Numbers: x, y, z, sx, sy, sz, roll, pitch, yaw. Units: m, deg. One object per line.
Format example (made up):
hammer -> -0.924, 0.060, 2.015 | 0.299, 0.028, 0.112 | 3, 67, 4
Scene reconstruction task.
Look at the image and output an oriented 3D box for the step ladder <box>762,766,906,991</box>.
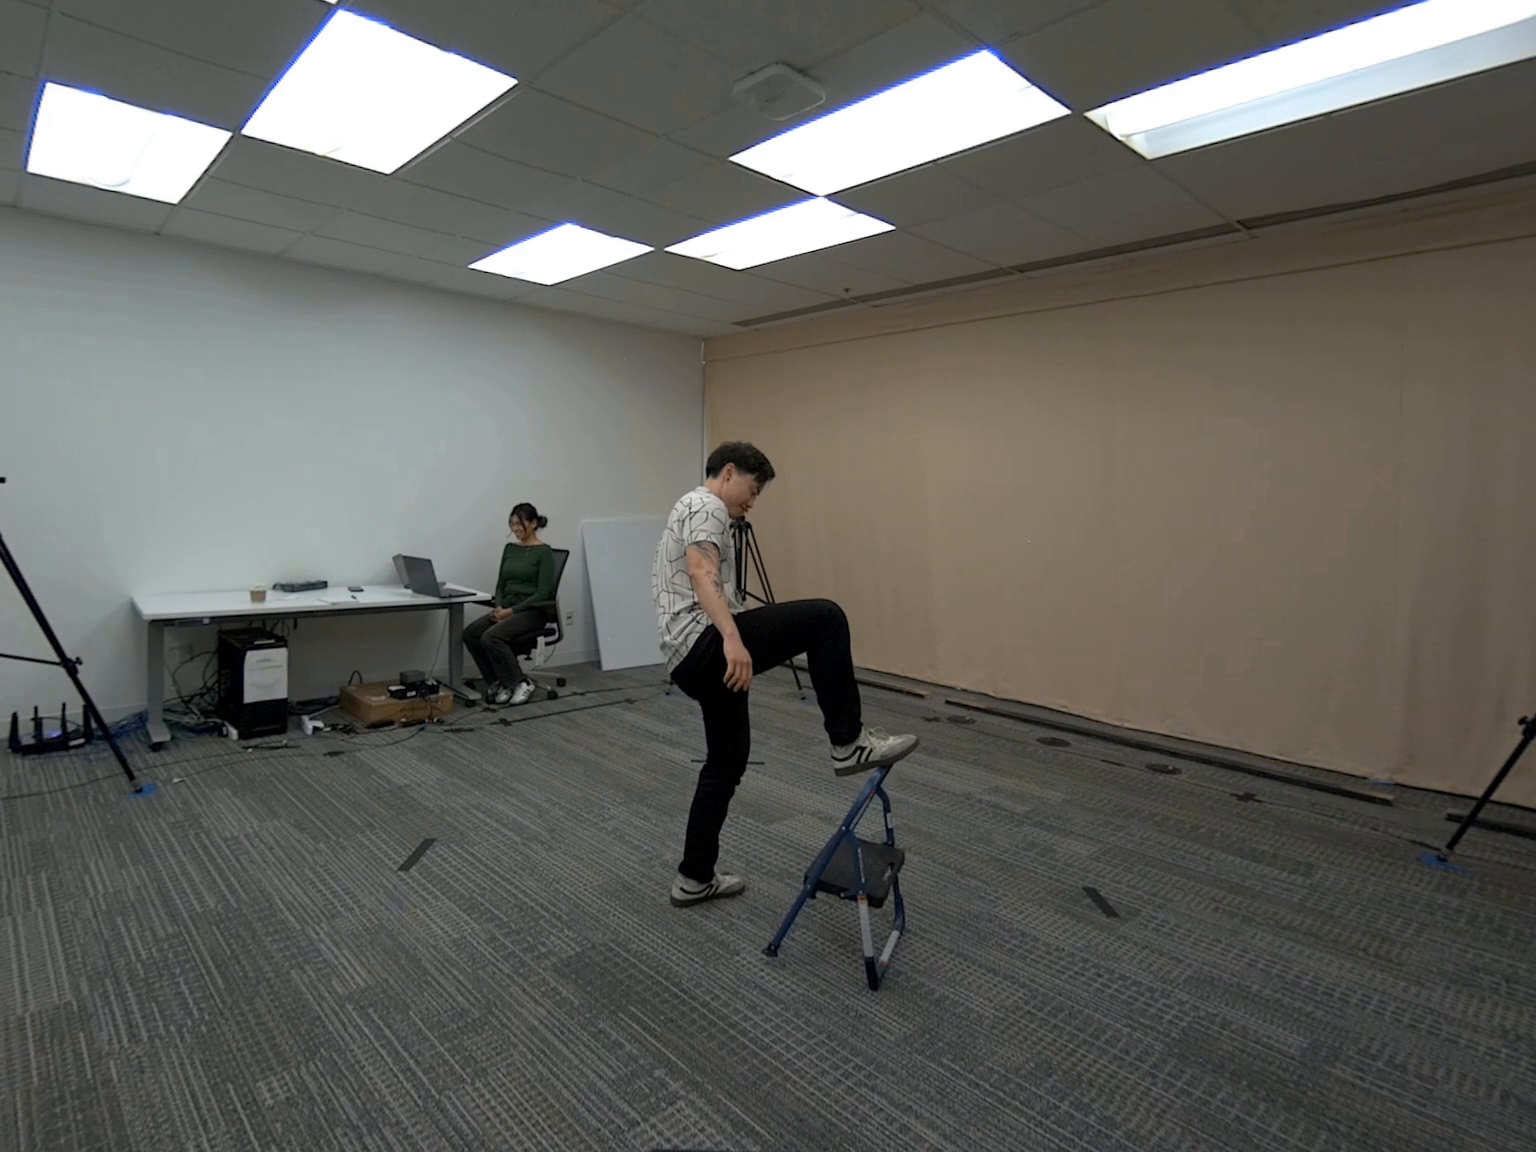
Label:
step ladder -> 0.248, 0.842, 2.606 | 0.355, 0.604, 0.425 | 8, 6, 20
